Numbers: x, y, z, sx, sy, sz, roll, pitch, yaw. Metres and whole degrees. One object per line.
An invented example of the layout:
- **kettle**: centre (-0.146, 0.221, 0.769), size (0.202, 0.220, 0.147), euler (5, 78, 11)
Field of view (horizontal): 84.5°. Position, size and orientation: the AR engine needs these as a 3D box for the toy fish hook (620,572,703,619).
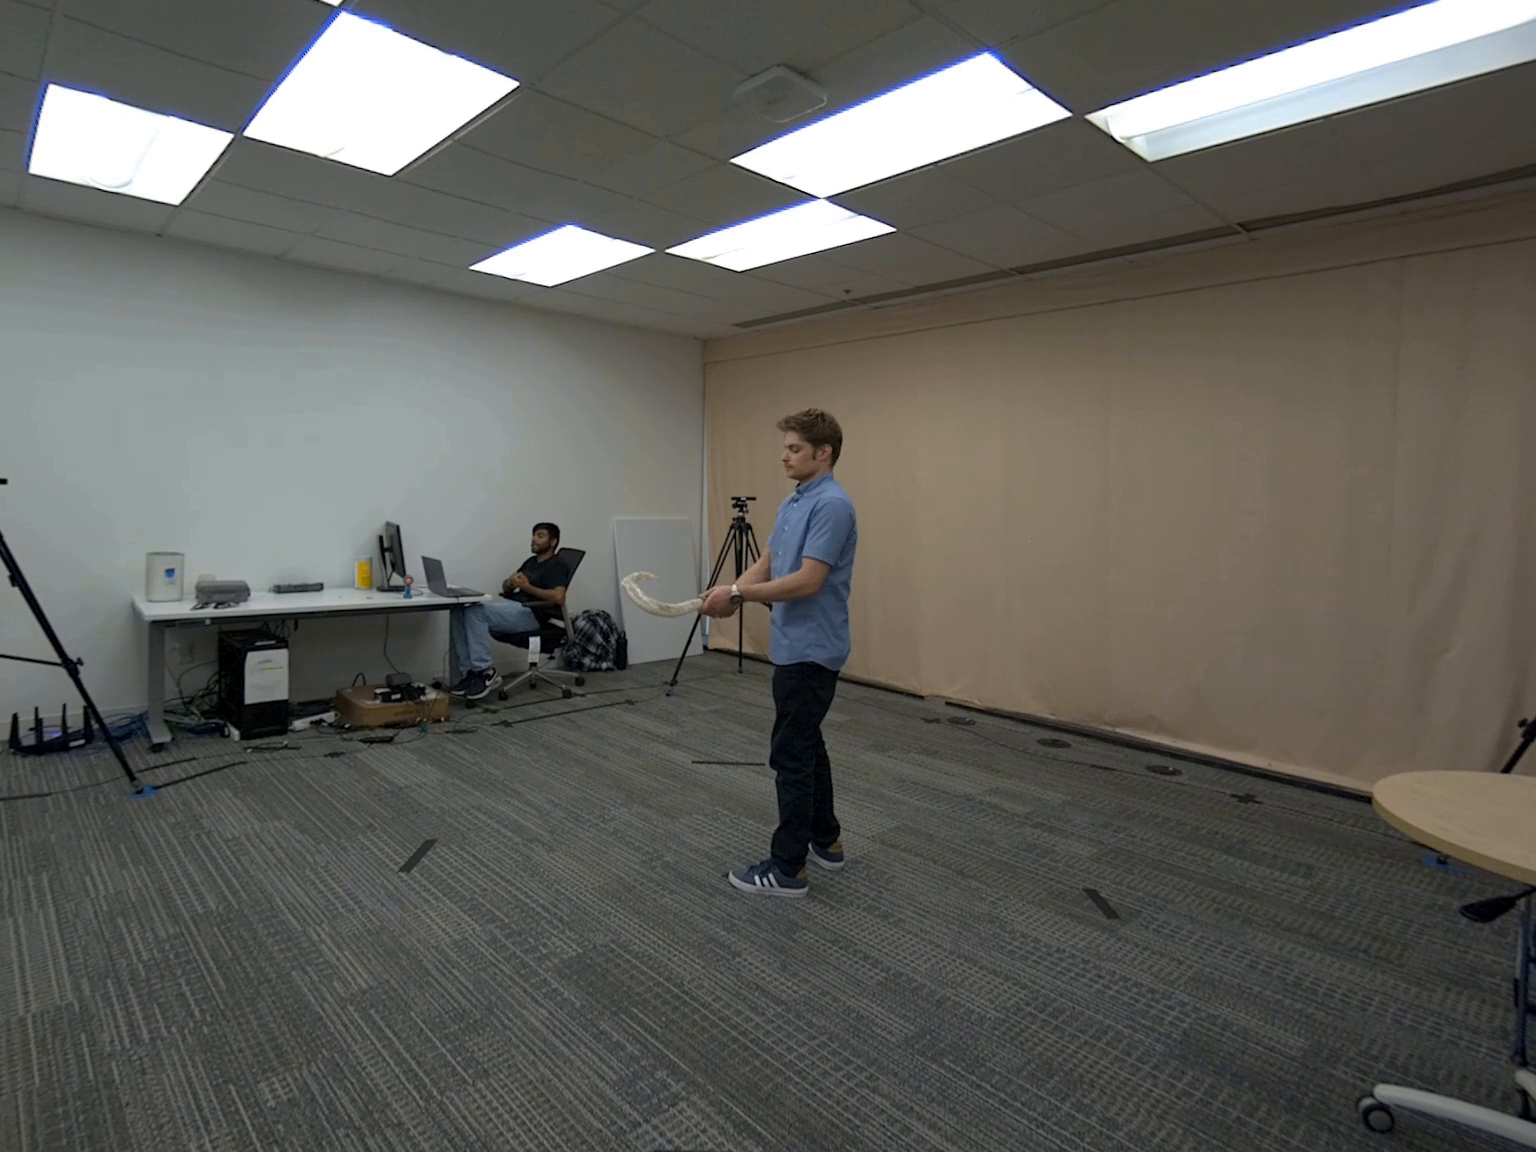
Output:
- **toy fish hook**: centre (-0.295, 0.066, 2.912), size (0.494, 0.048, 0.231), euler (4, 39, -50)
